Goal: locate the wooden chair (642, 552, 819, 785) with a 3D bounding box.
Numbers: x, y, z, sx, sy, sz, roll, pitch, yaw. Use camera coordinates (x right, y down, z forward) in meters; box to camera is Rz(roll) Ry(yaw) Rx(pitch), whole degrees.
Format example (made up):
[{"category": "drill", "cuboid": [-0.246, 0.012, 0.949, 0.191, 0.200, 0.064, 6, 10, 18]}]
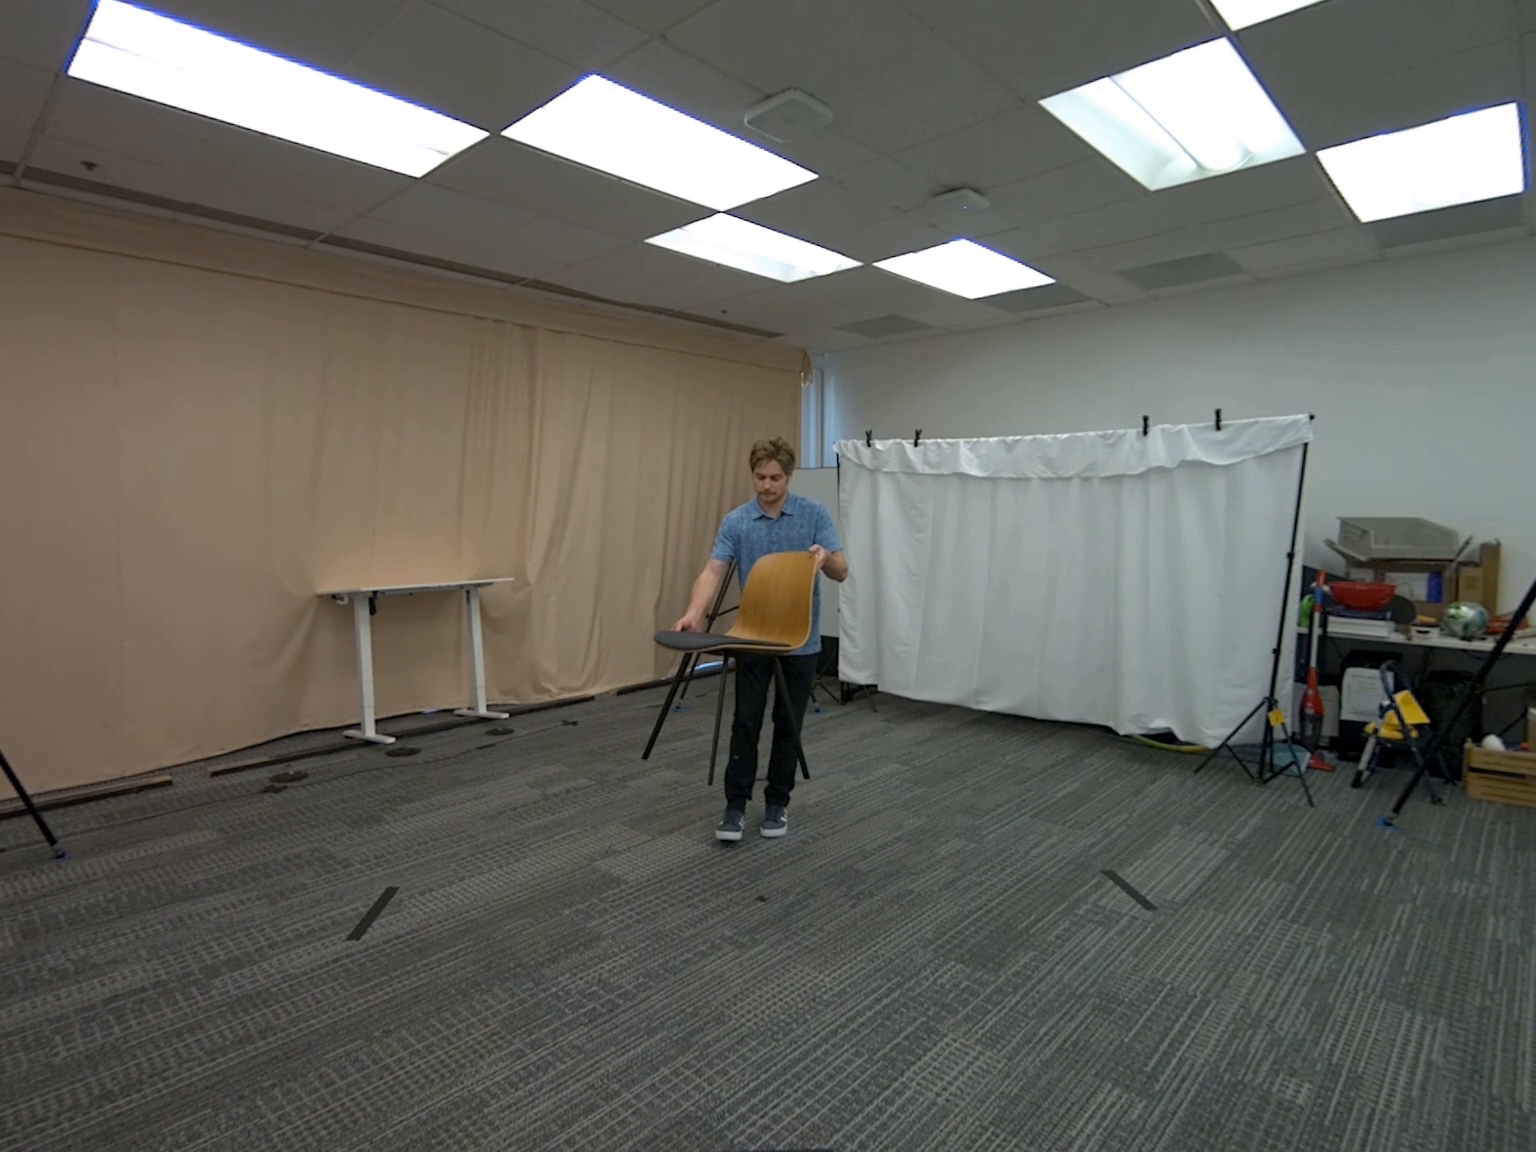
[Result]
[{"category": "wooden chair", "cuboid": [-0.124, 0.300, 3.148, 0.506, 0.880, 0.493, 12, -8, -37]}]
